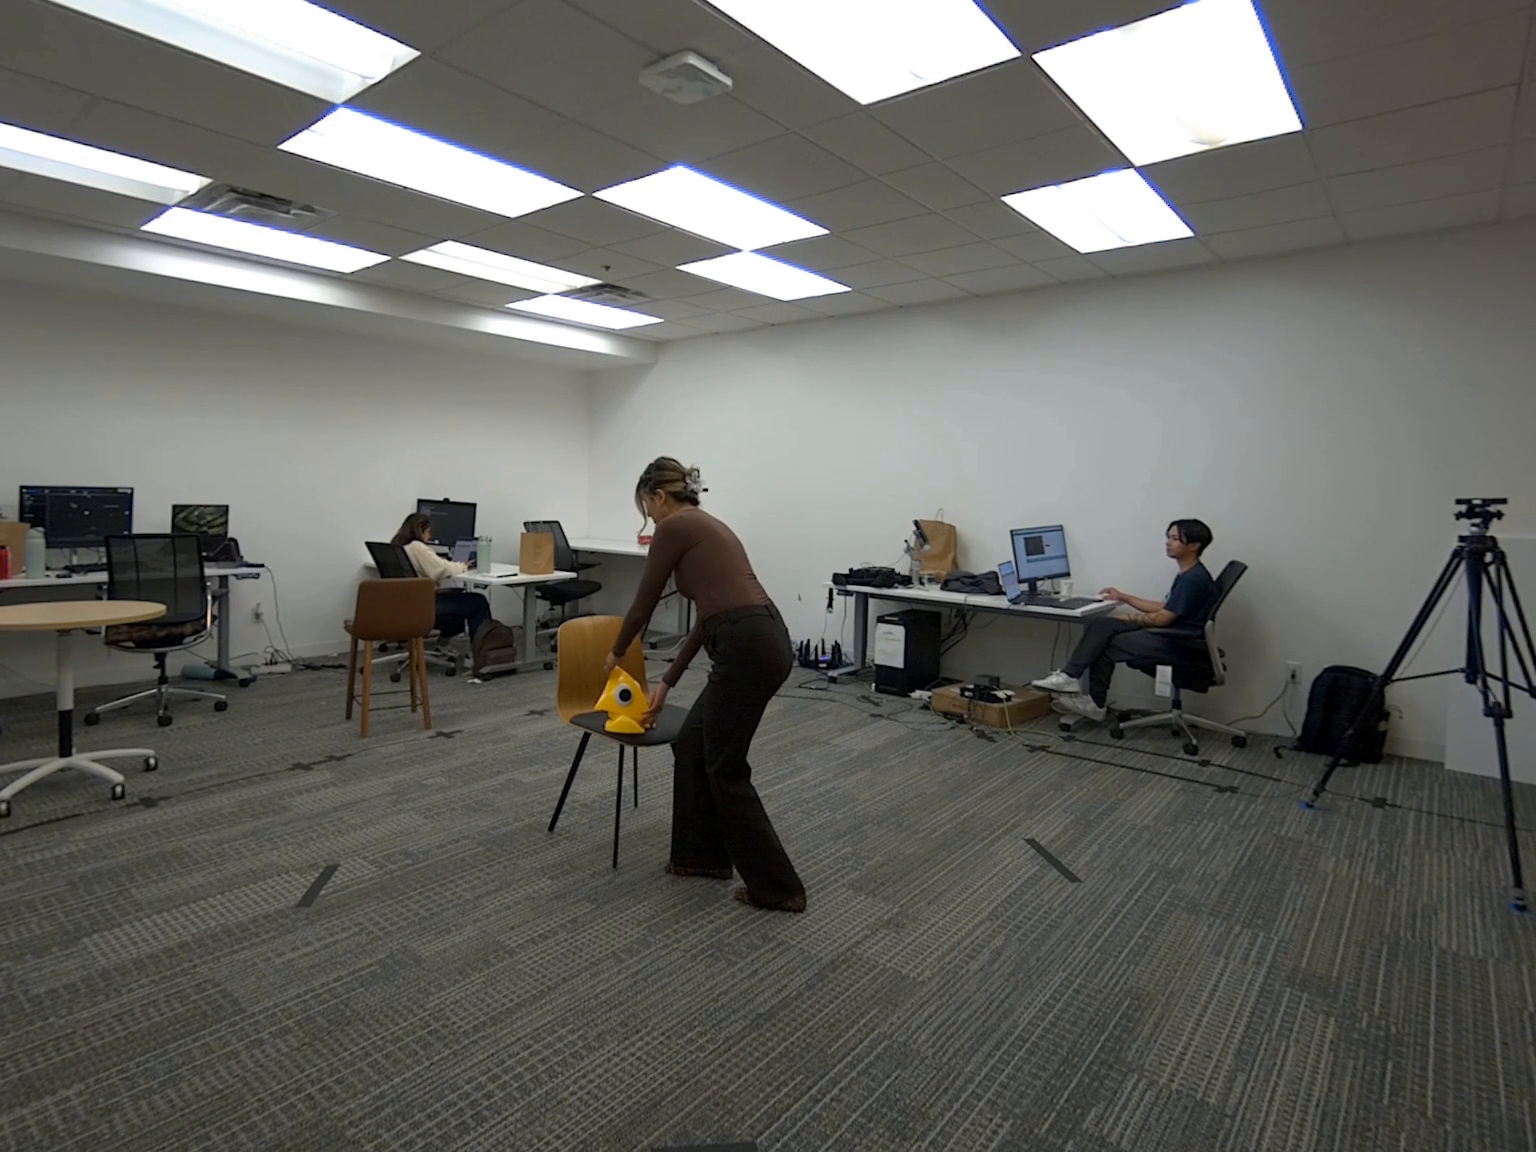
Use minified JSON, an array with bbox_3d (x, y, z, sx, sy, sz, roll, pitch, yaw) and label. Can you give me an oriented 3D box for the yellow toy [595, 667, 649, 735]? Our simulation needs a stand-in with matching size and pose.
[{"bbox_3d":[-0.538,0.452,3.186,0.196,0.231,0.201,1,-1,13],"label":"yellow toy"}]
